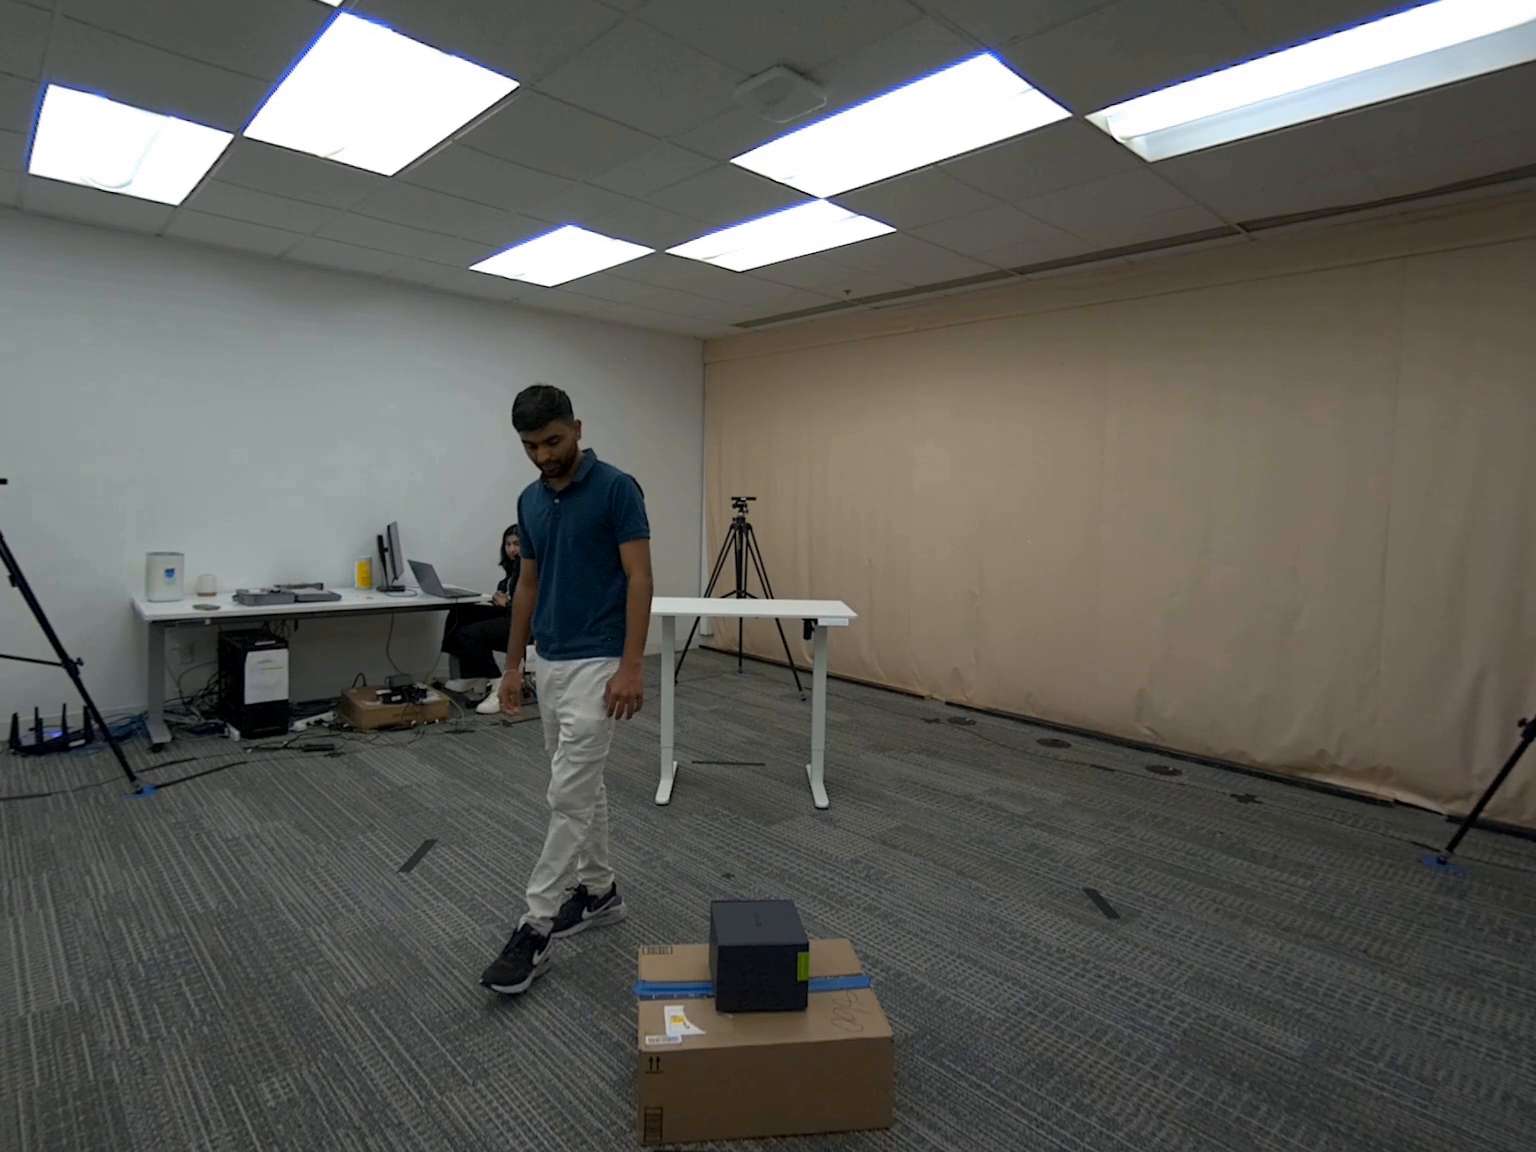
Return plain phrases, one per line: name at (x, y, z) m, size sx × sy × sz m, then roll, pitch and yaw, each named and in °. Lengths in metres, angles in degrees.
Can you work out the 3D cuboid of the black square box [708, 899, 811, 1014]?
black square box at (-0.037, 0.910, 2.032) m, size 0.216 × 0.155 × 0.229 m, roll 2°, pitch 3°, yaw -7°
